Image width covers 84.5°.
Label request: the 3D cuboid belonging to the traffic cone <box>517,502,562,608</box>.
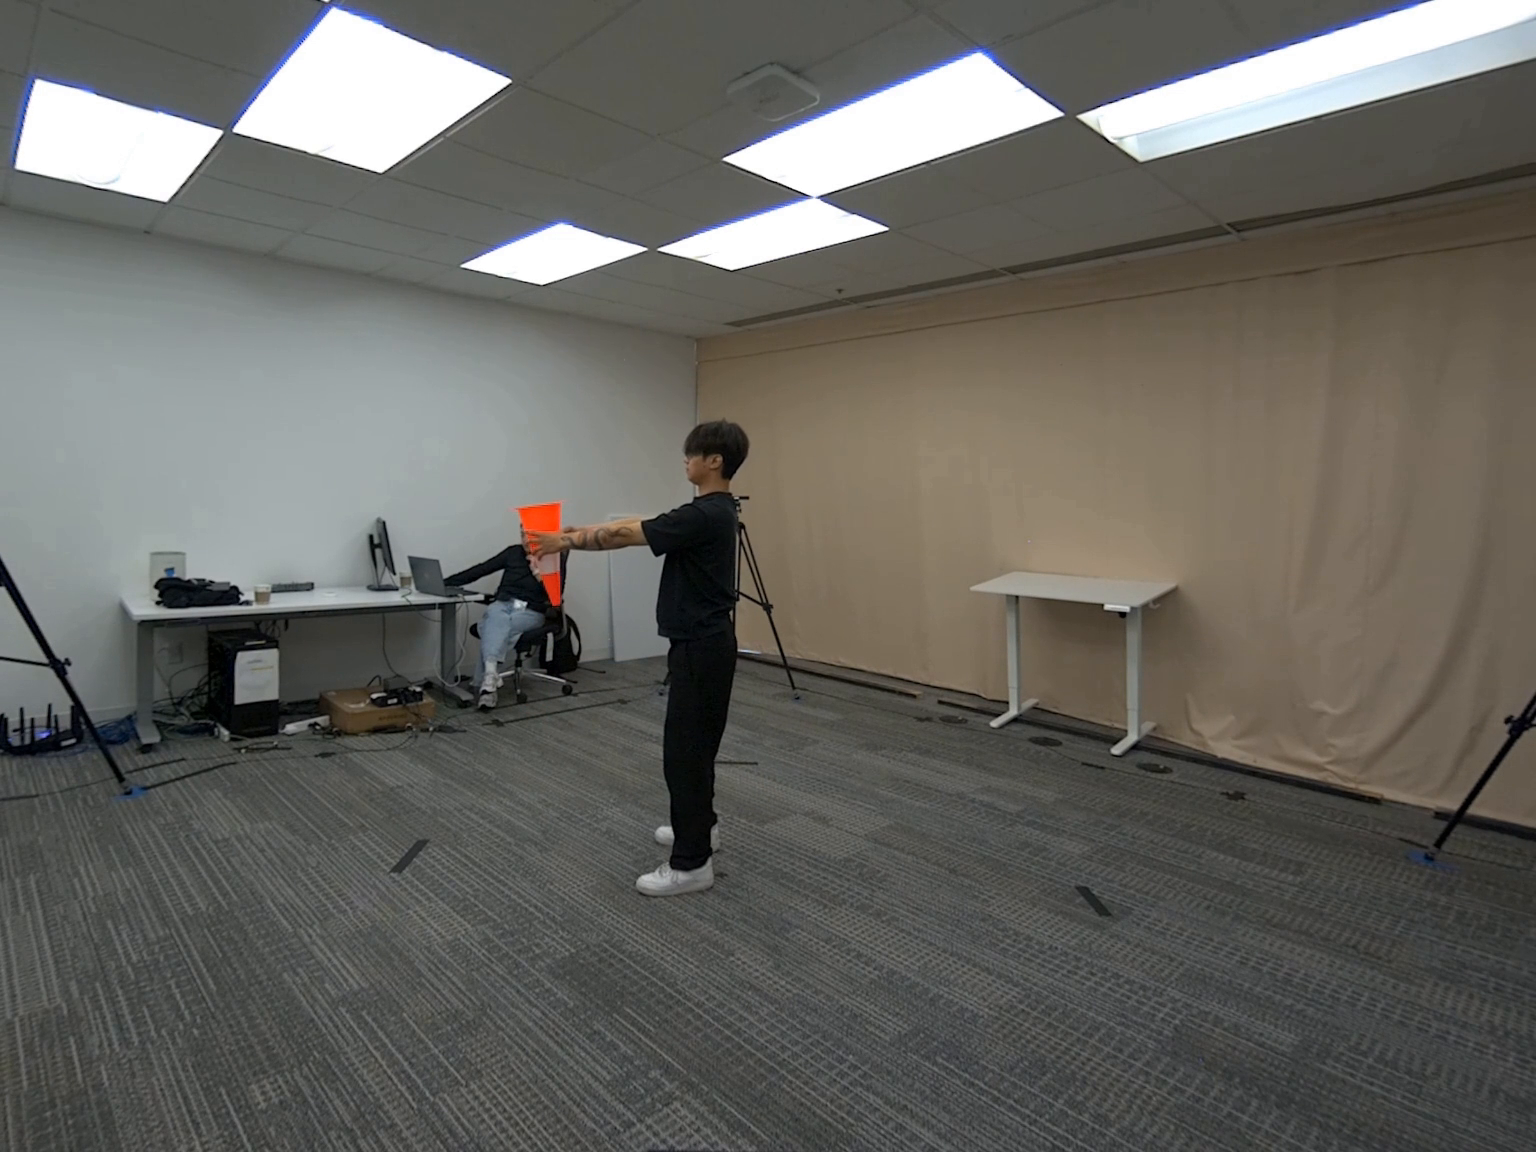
[{"bbox_3d":[-0.834,-0.071,3.149,0.204,0.382,0.206,-8,6,2],"label":"traffic cone"}]
